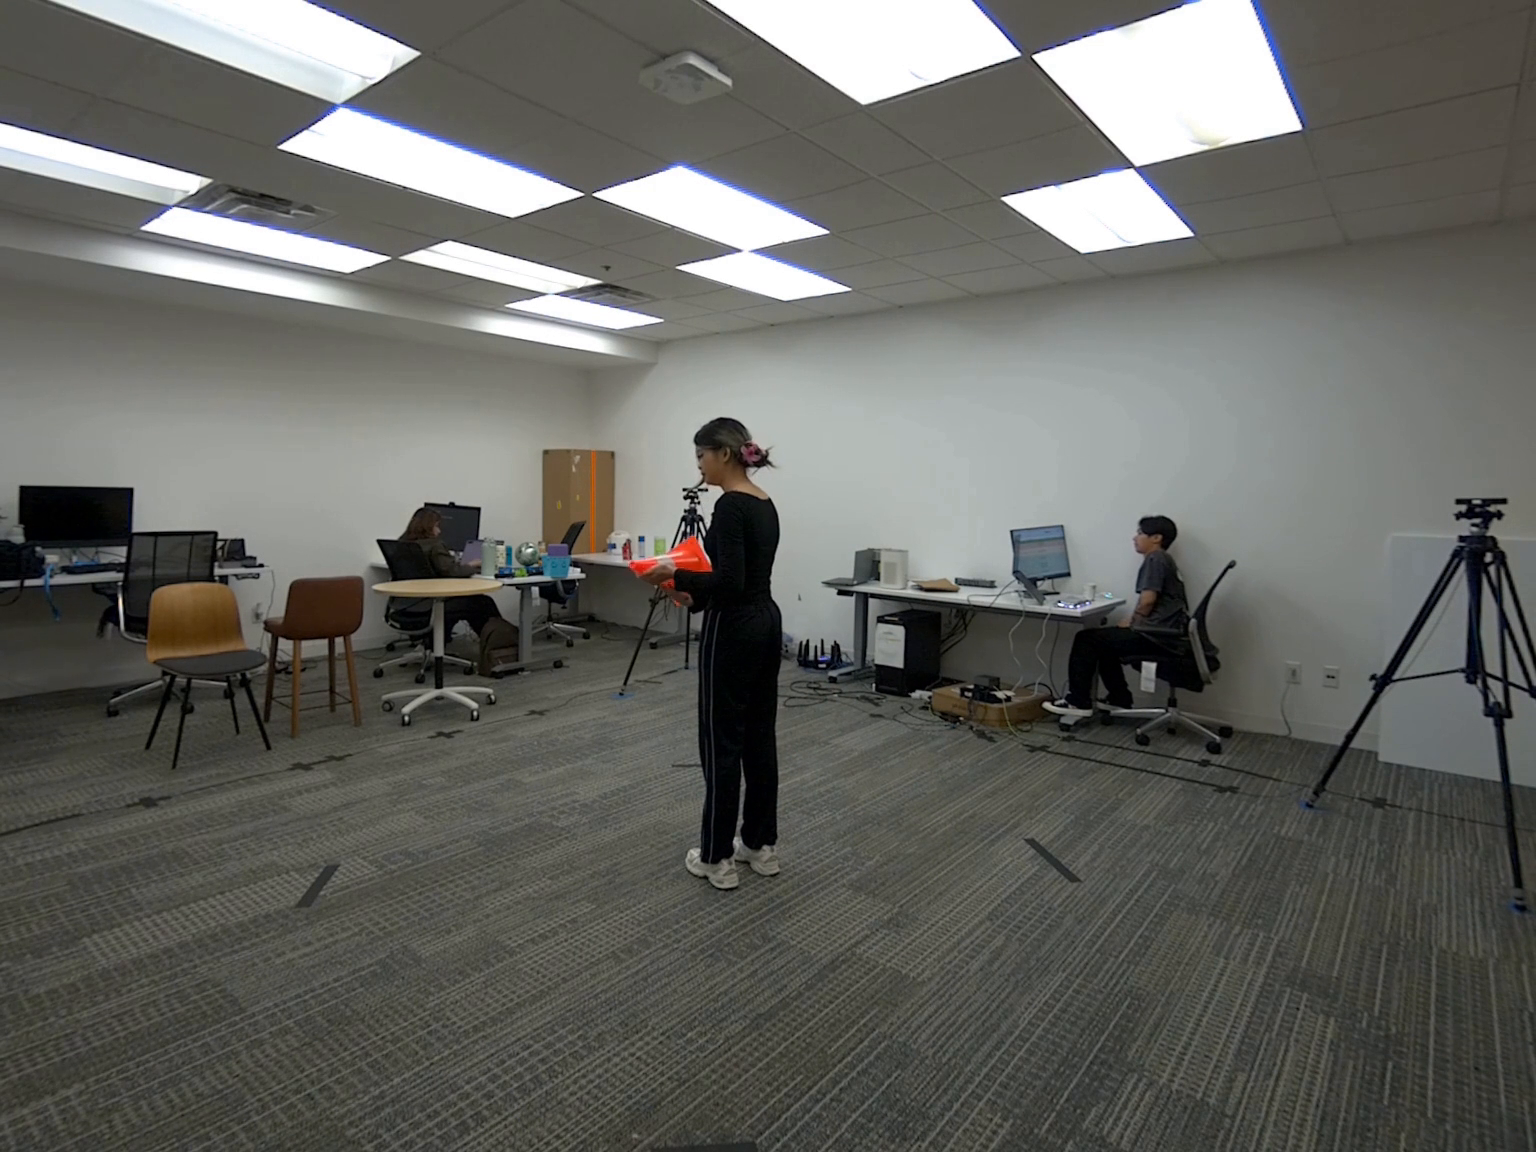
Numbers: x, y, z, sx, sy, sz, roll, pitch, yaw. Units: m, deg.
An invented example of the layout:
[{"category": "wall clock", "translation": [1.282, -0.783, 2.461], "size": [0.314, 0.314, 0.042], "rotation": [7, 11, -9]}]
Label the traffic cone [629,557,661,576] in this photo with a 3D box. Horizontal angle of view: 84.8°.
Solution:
[{"category": "traffic cone", "translation": [-0.388, -0.029, 3.027], "size": [0.206, 0.207, 0.374], "rotation": [-34, -14, 18]}]
